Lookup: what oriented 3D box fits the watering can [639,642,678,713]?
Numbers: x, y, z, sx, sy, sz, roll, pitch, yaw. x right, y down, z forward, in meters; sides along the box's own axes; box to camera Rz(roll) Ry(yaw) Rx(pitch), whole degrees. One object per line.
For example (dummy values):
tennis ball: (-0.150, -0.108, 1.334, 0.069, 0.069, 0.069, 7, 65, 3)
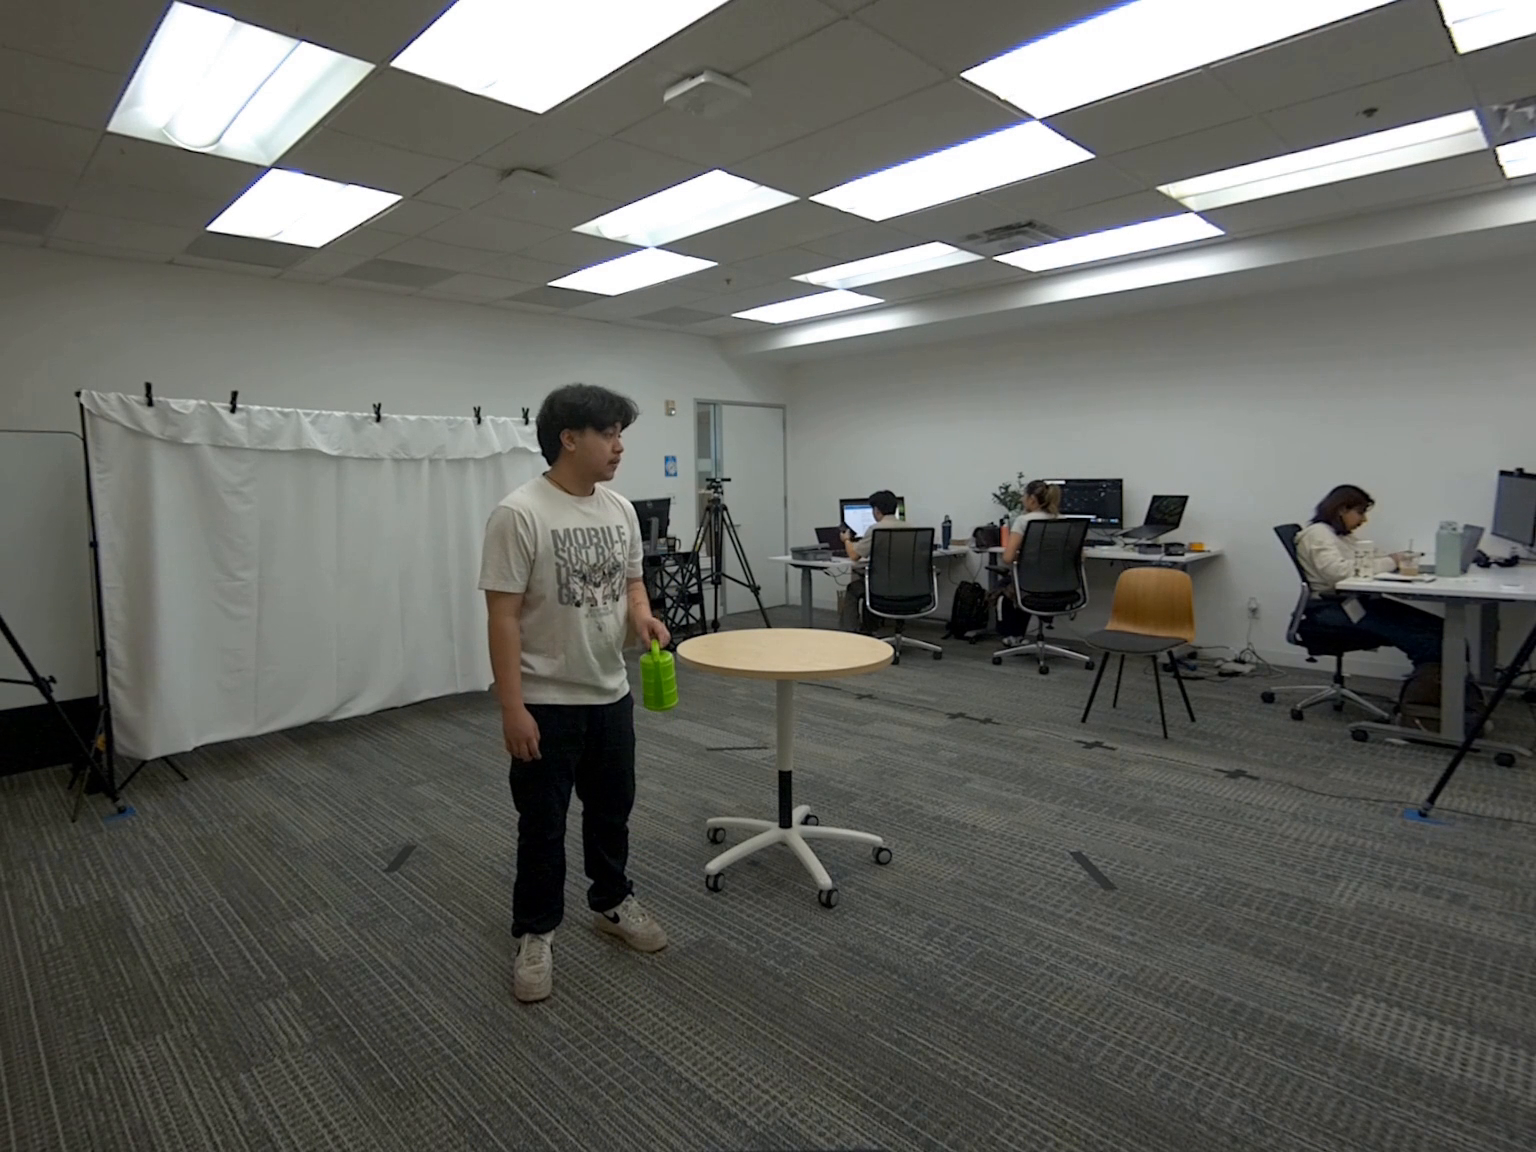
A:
watering can: (-0.302, 0.272, 2.260, 0.098, 0.175, 0.279, -4, 8, 3)
